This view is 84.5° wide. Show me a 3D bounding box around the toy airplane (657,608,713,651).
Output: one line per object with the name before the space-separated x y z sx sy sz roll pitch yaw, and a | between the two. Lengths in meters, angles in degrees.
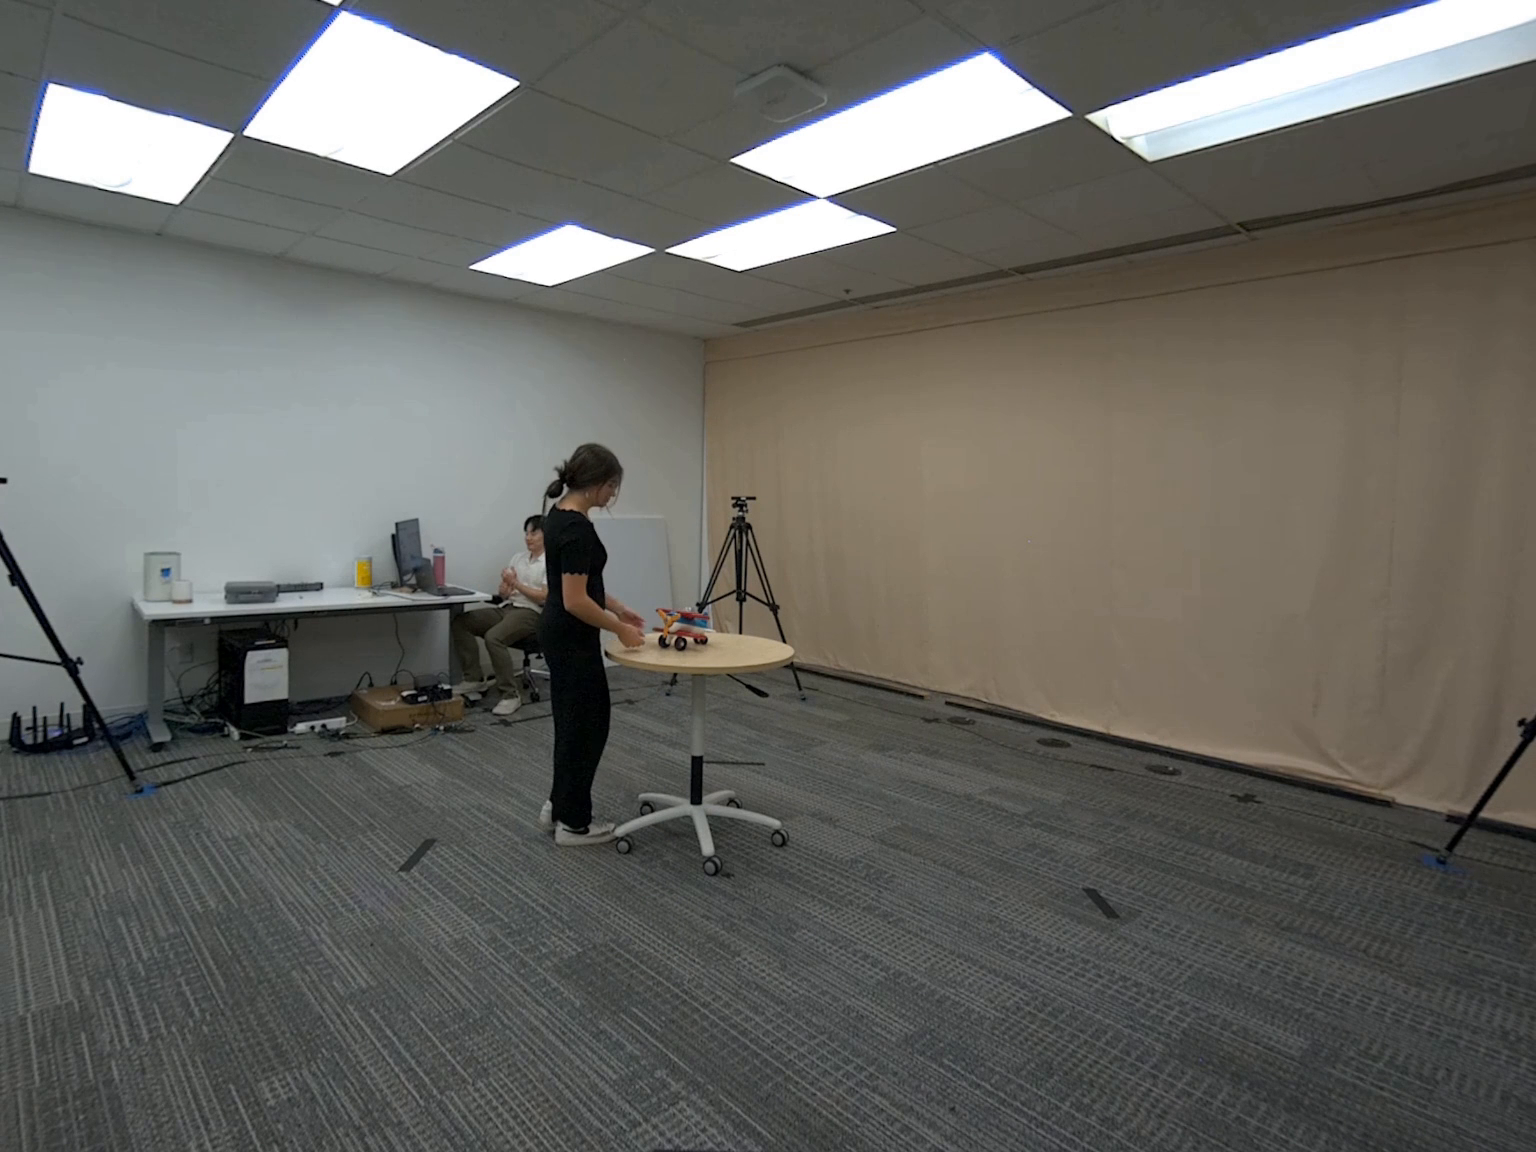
toy airplane | -0.362 0.208 3.427 0.253 0.156 0.258 3 6 7
